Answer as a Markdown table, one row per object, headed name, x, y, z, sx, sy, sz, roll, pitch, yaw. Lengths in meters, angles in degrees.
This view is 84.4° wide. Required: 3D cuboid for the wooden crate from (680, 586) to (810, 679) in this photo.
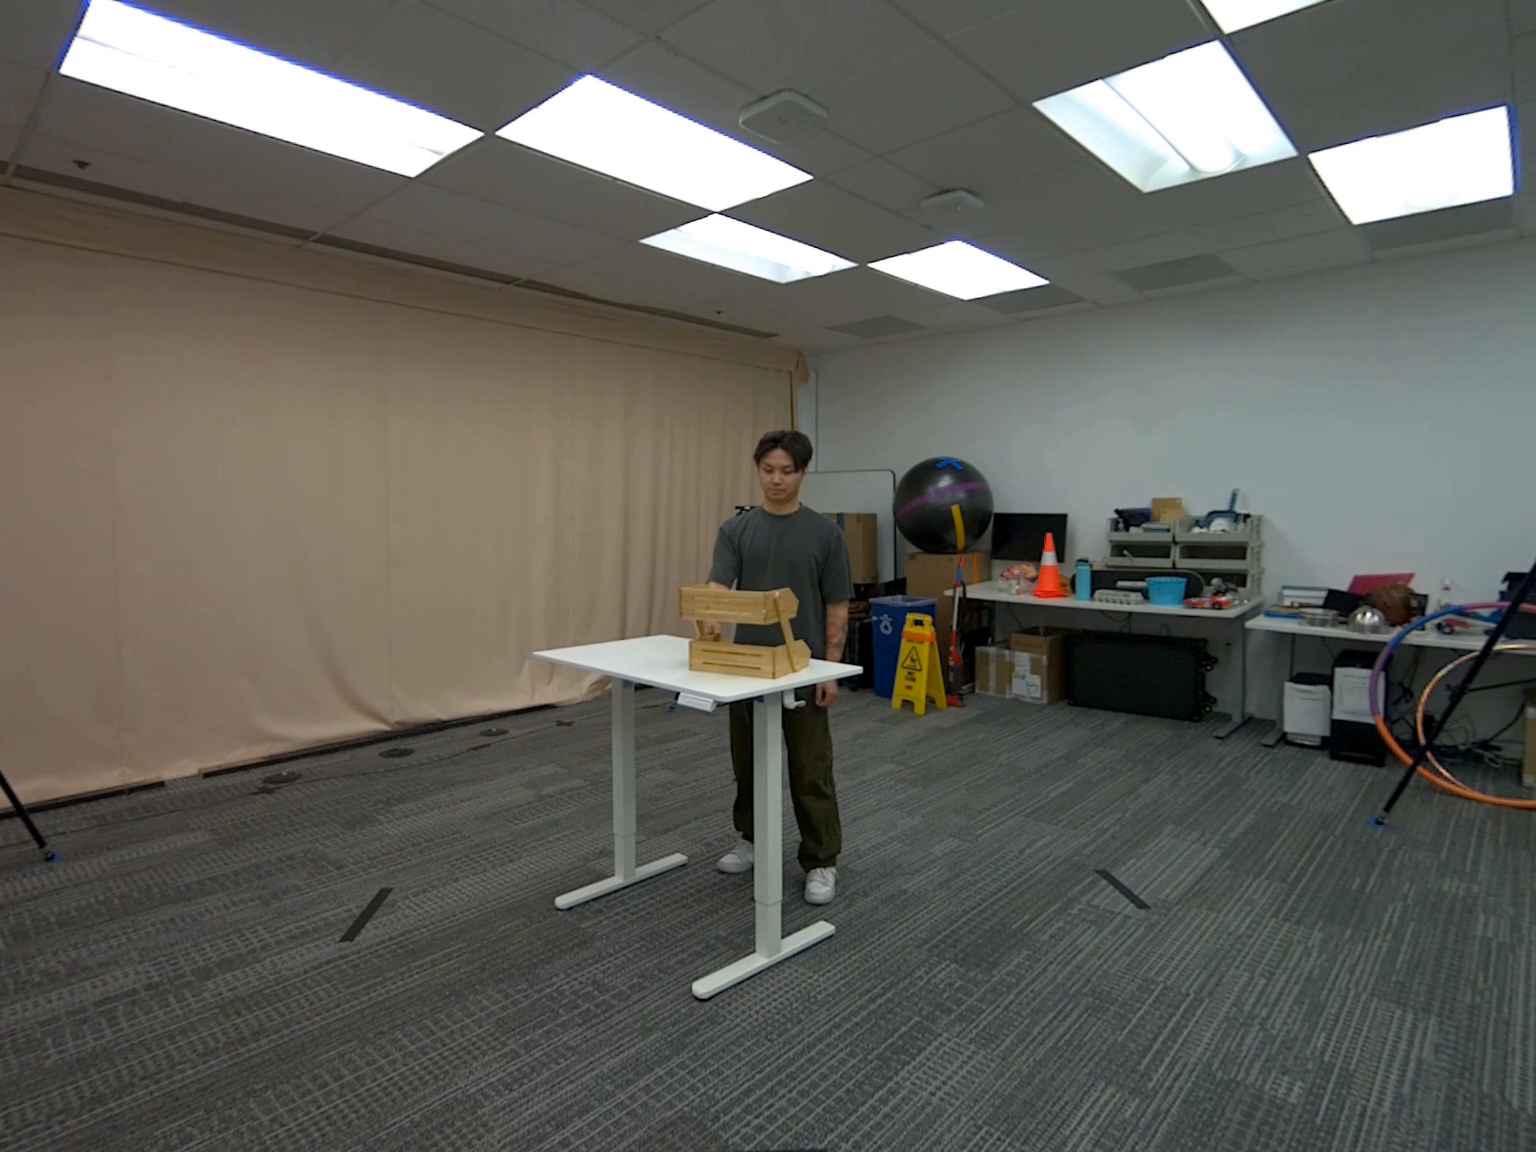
| name | x | y | z | sx | sy | sz | roll | pitch | yaw |
| --- | --- | --- | --- | --- | --- | --- | --- | --- | --- |
| wooden crate | -0.065 | 0.158 | 2.620 | 0.333 | 0.273 | 0.294 | 1 | 5 | 29 |
